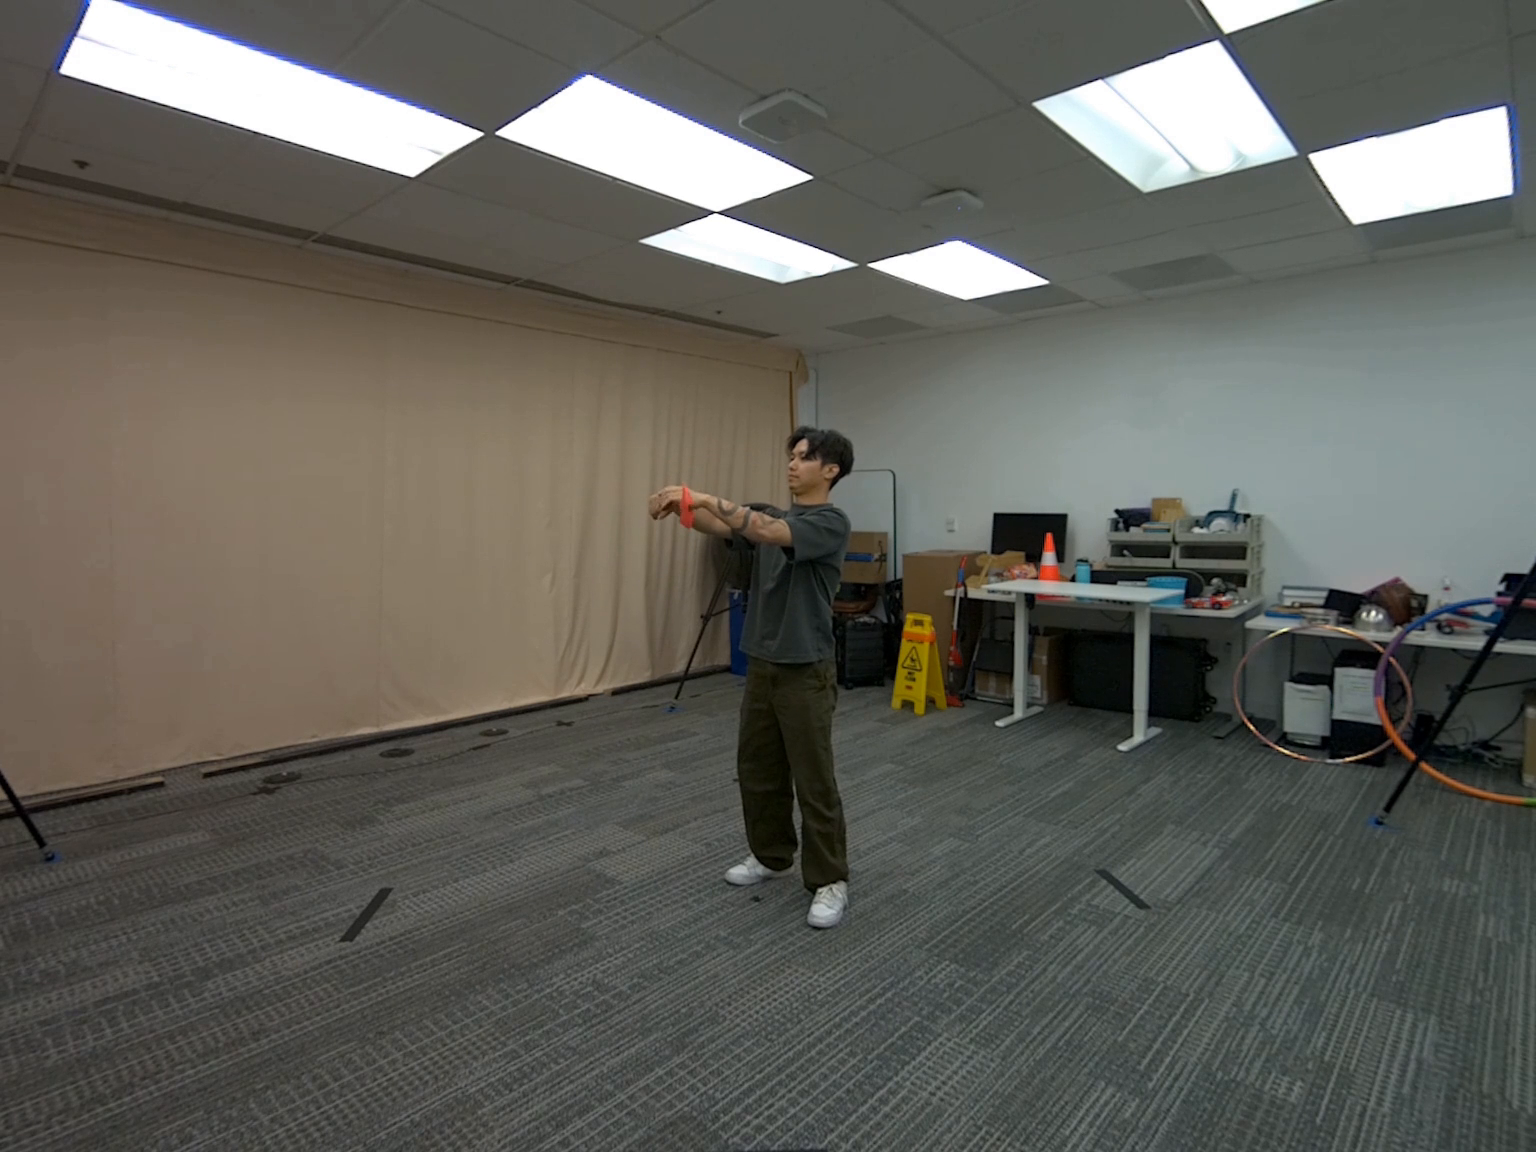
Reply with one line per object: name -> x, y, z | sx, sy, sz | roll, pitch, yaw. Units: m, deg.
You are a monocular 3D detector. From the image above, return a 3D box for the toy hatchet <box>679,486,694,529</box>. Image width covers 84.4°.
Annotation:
toy hatchet -> -0.291, -0.193, 2.729 | 0.029, 0.132, 0.273 | -15, -6, -25
